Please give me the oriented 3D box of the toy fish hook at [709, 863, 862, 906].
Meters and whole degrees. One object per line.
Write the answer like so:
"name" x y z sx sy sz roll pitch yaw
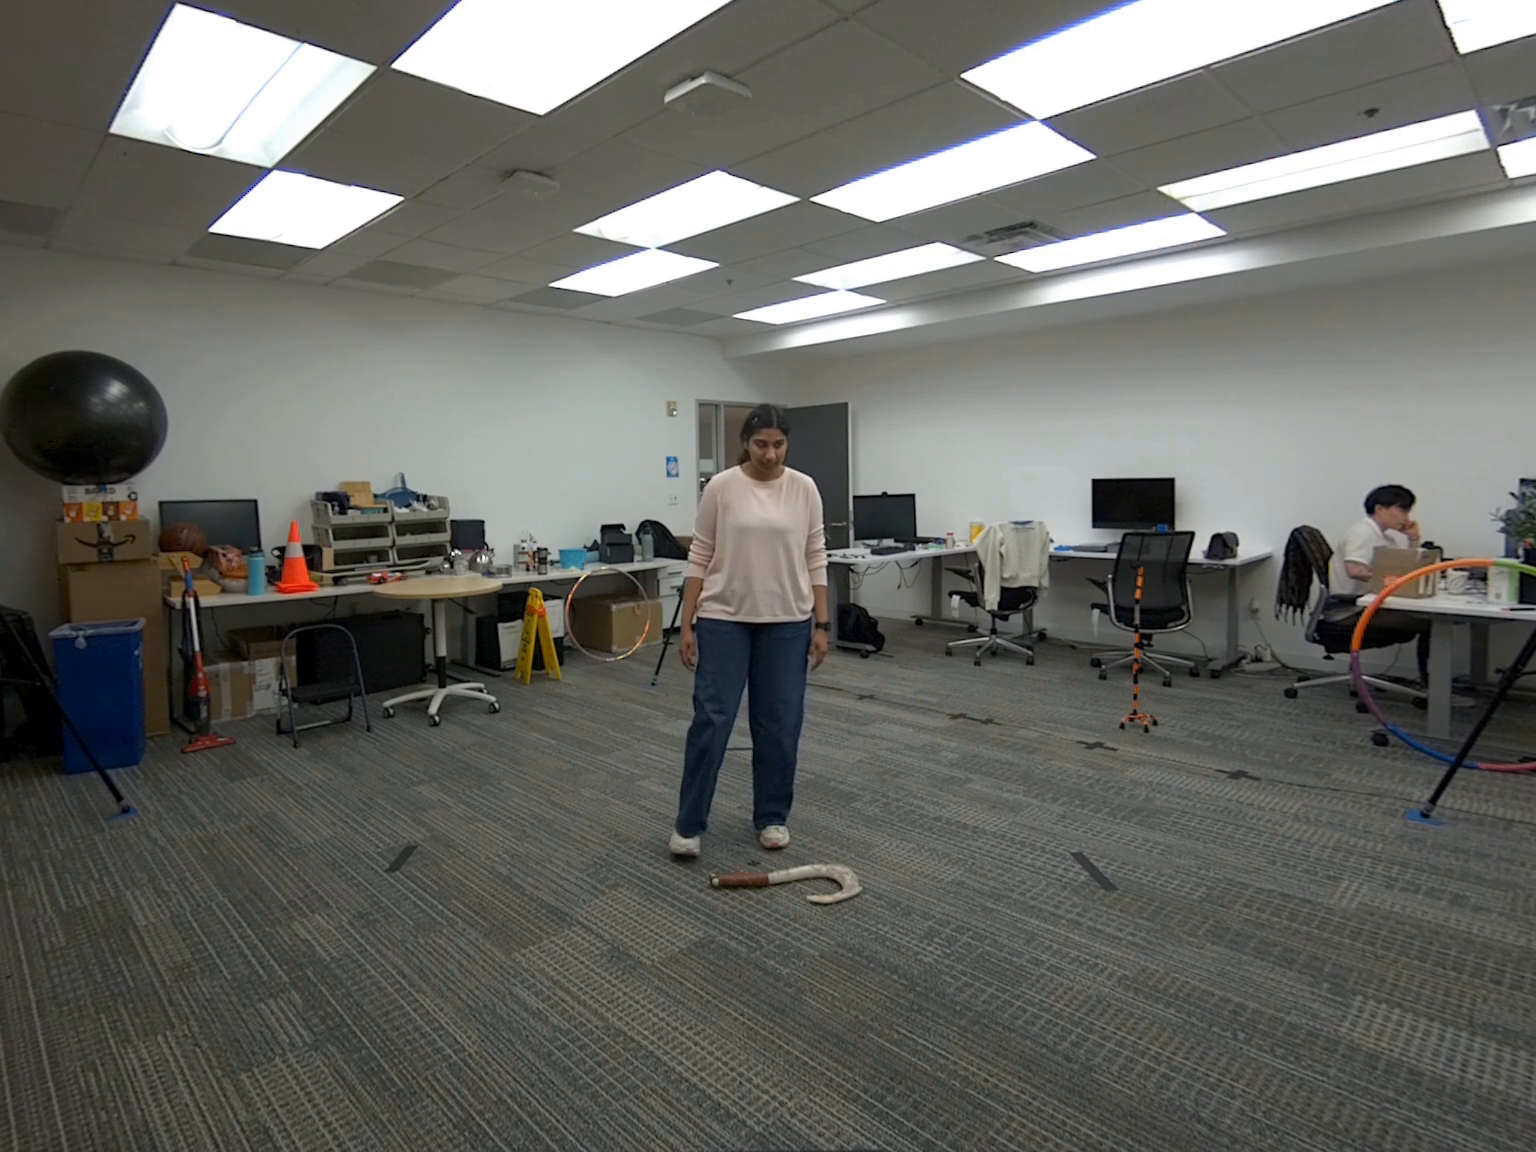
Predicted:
"toy fish hook" 0.061 1.043 2.888 0.504 0.048 0.227 -2 5 -6
